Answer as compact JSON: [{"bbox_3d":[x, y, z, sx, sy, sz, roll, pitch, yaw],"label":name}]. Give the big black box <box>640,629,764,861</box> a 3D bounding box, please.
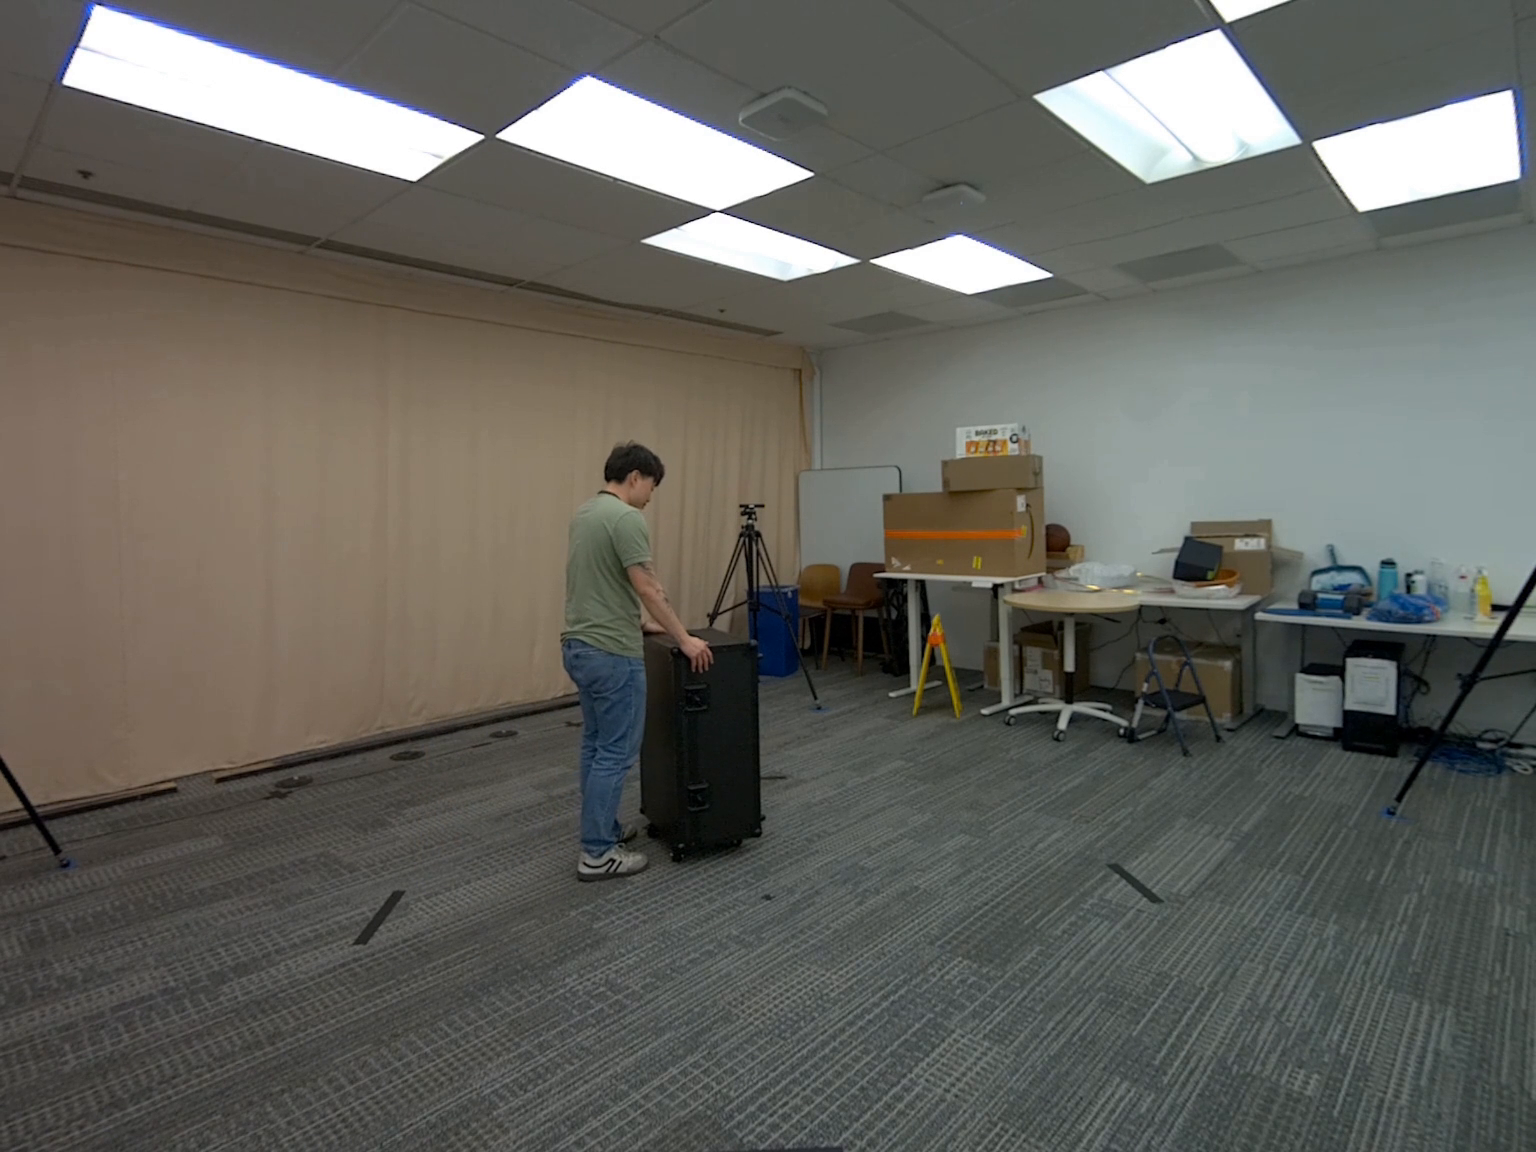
[{"bbox_3d":[-0.287,0.676,3.496,0.387,0.860,0.534,-1,2,-25],"label":"big black box"}]
